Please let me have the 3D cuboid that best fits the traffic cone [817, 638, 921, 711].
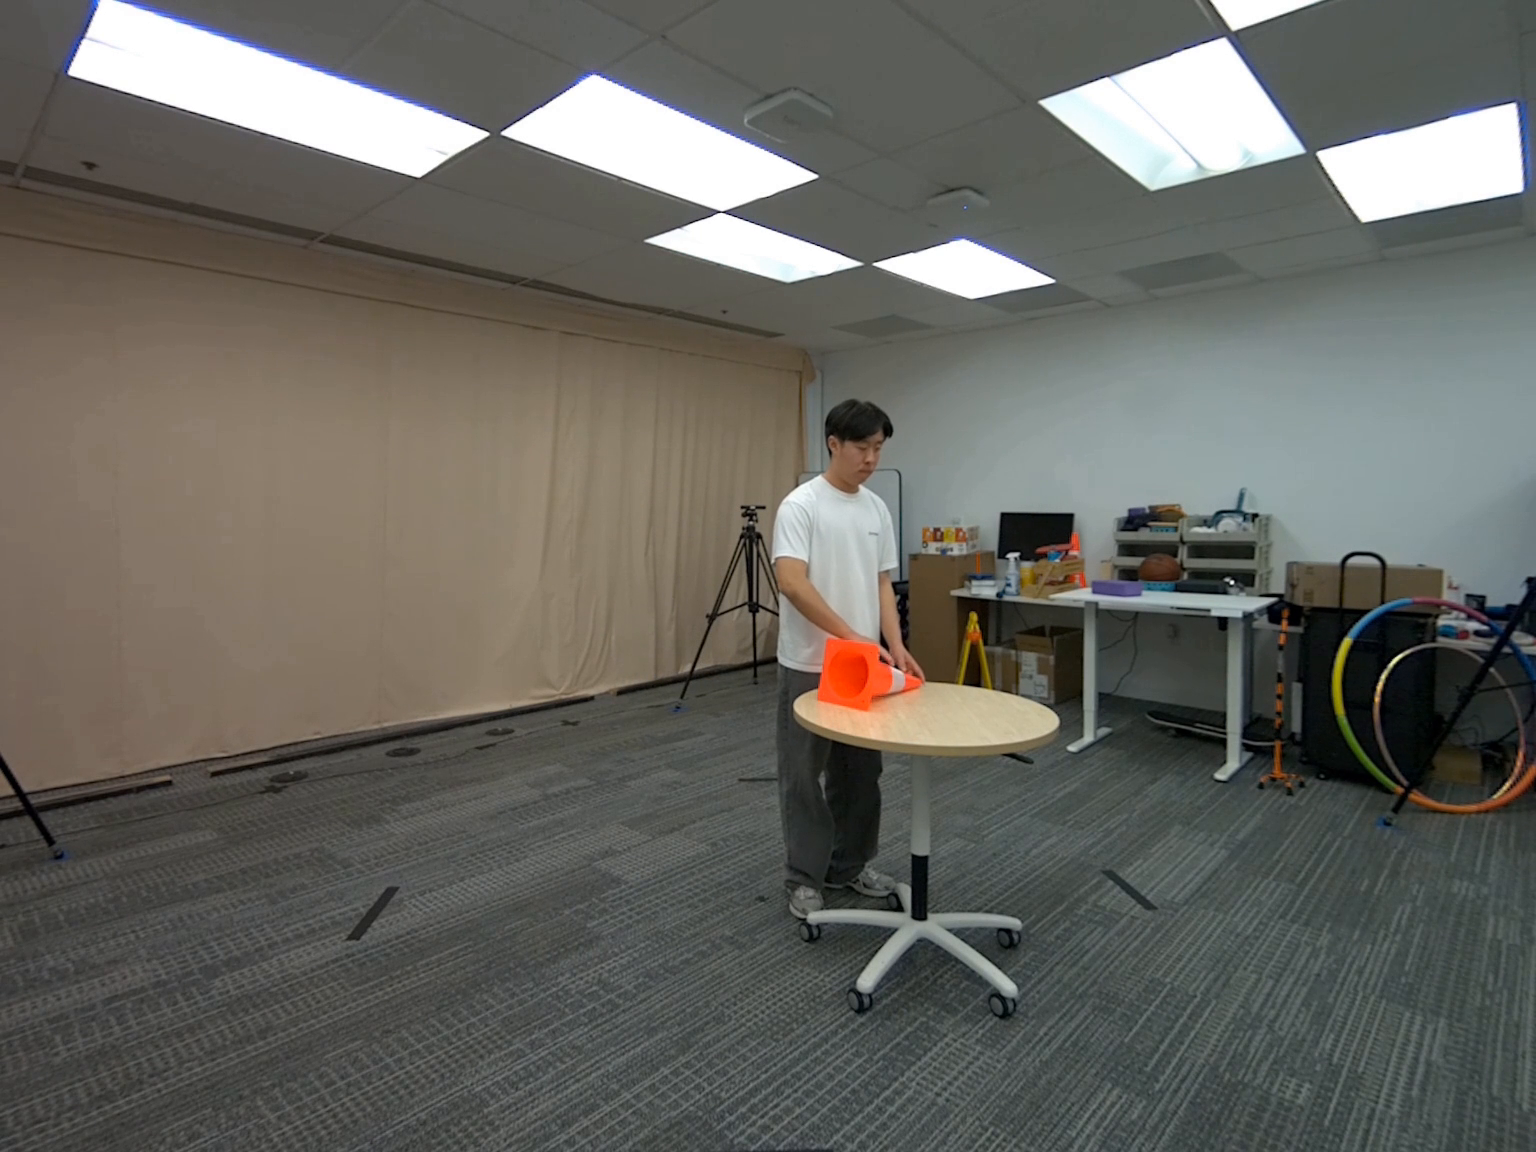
[{"bbox_3d":[0.371,0.325,2.689,0.210,0.205,0.370,6,-5,45],"label":"traffic cone"}]
